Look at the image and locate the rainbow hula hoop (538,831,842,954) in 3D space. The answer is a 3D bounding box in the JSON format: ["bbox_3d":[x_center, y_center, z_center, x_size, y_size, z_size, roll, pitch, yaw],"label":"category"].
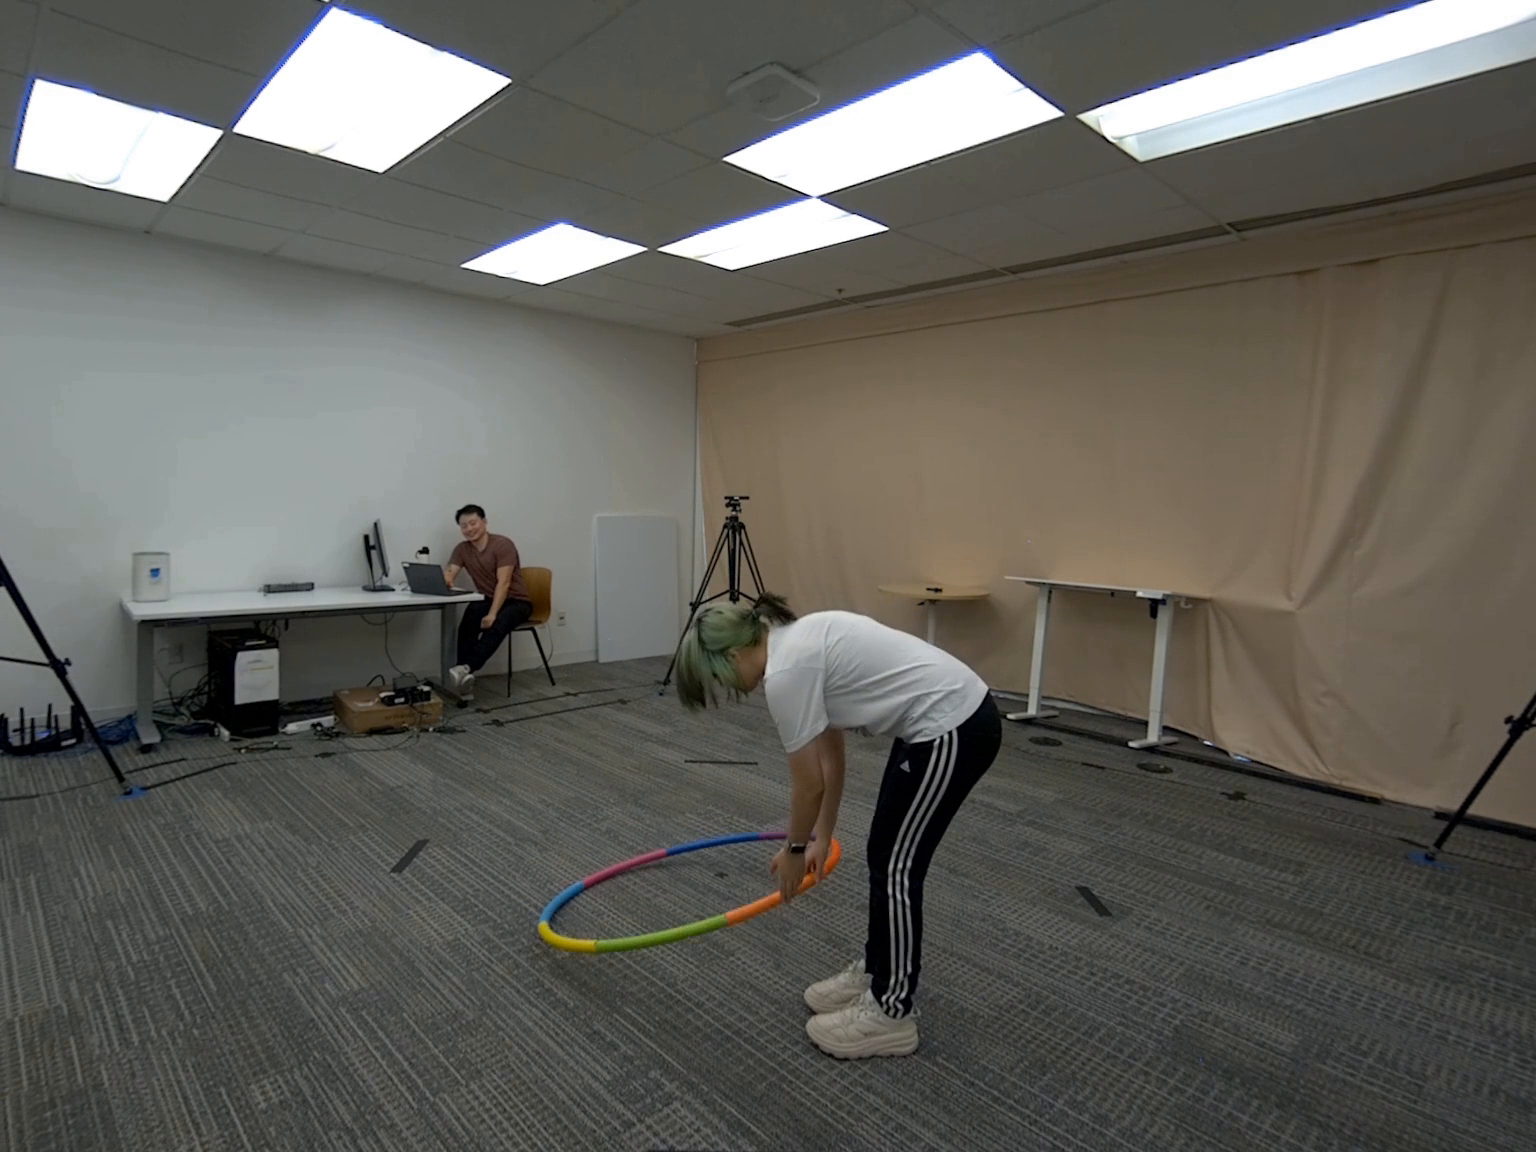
[{"bbox_3d":[-0.253,0.981,2.717,0.977,0.036,0.976,-12,-3,-2],"label":"rainbow hula hoop"}]
